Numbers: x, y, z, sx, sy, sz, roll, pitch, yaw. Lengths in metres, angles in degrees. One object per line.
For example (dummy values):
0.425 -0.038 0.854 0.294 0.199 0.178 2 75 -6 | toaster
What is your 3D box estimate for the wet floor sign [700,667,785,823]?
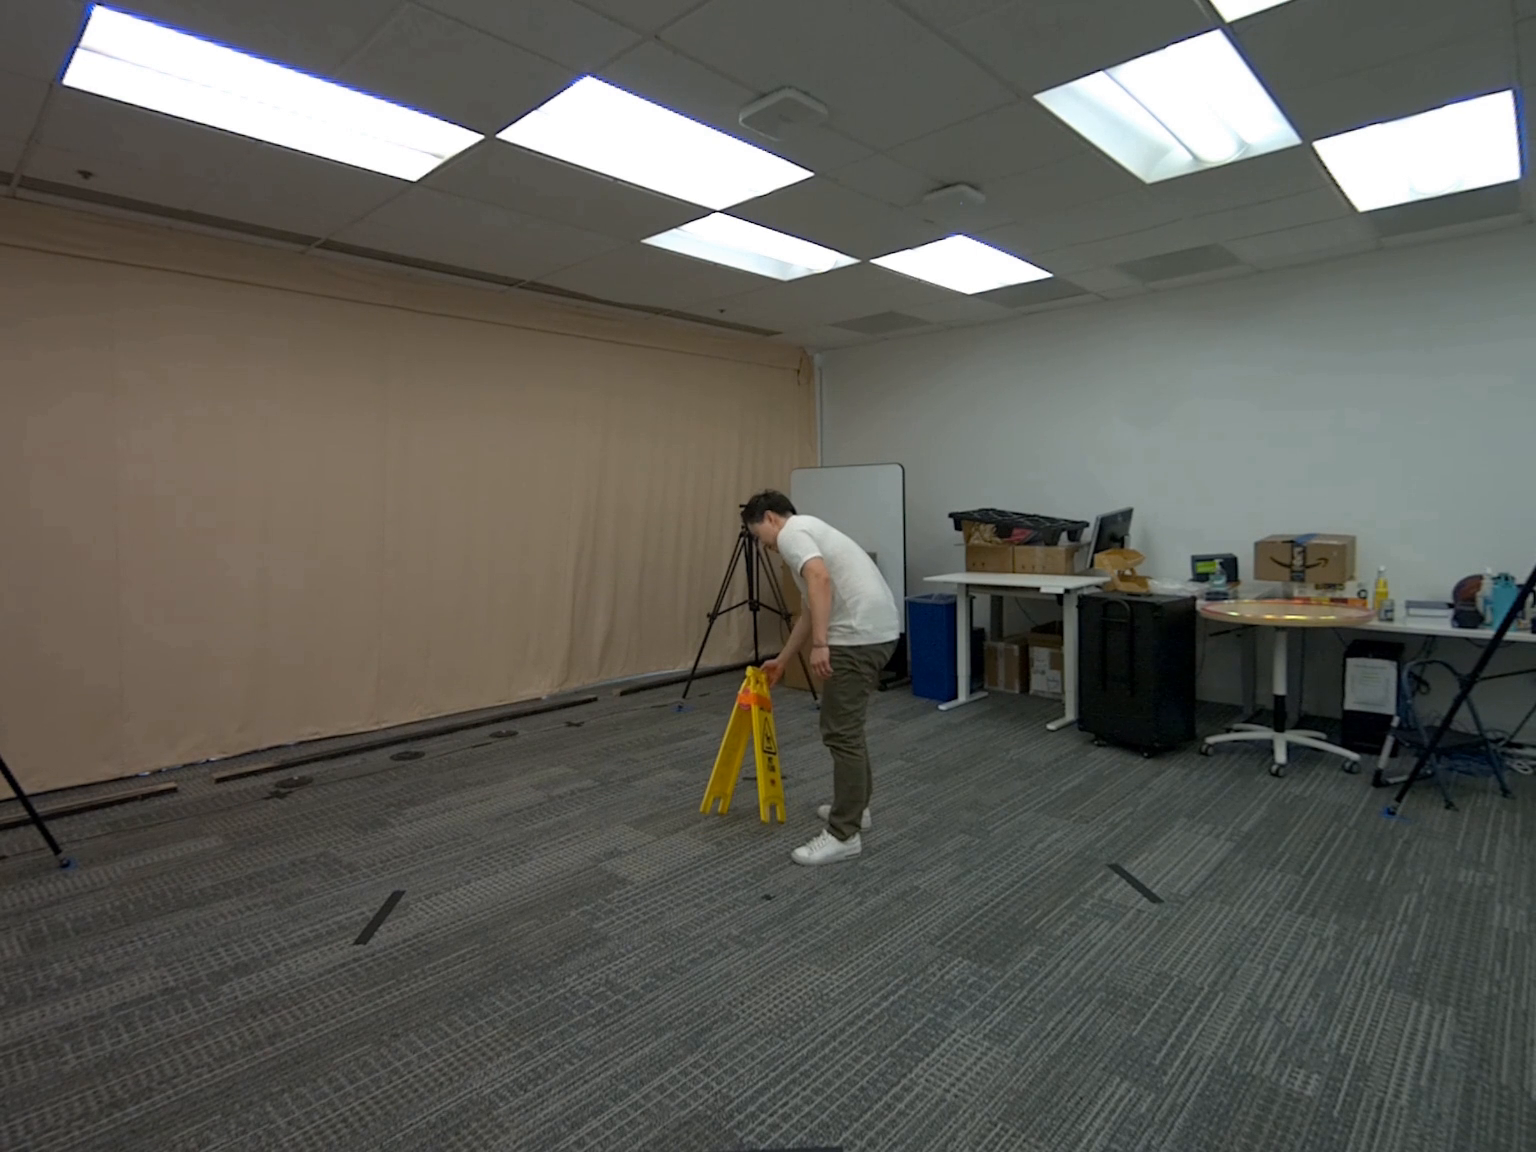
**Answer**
-0.081 0.733 3.729 0.296 0.651 0.274 0 -16 22 | wet floor sign
